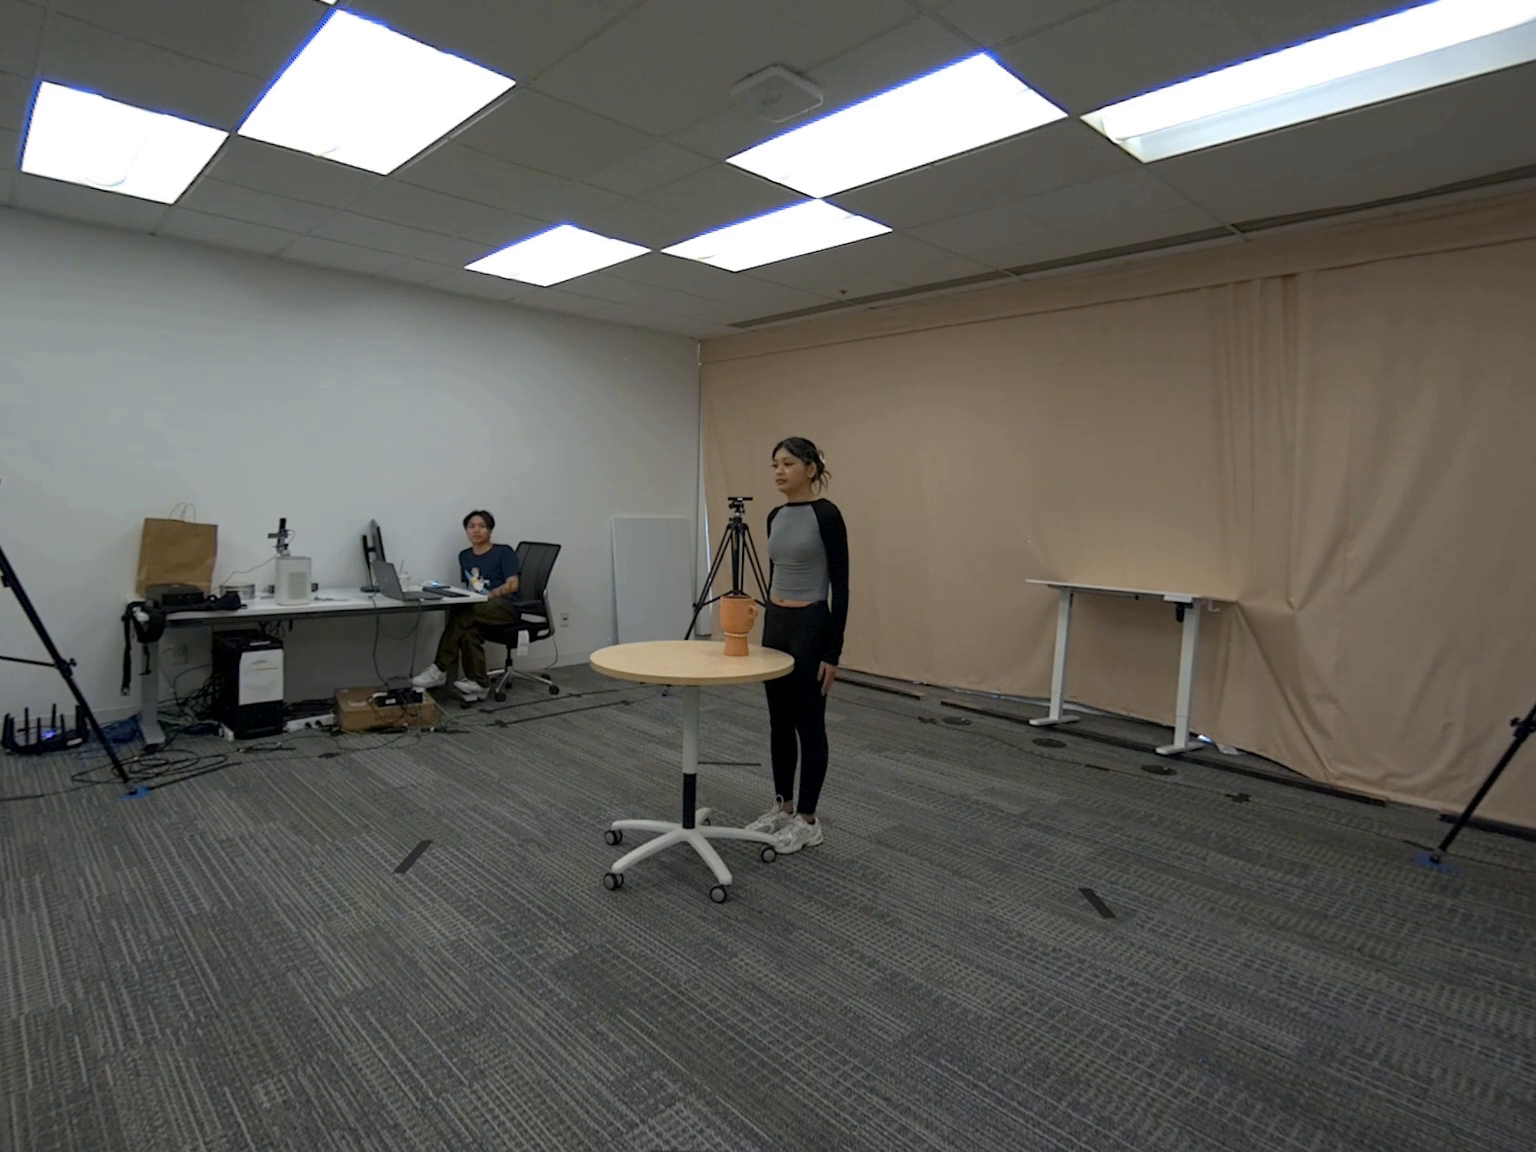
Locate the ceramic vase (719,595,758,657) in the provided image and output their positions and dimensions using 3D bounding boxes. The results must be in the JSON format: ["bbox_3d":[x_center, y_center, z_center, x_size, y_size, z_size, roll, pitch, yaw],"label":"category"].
[{"bbox_3d":[-0.124,0.195,3.246,0.133,0.219,0.160,1,3,-10],"label":"ceramic vase"}]
